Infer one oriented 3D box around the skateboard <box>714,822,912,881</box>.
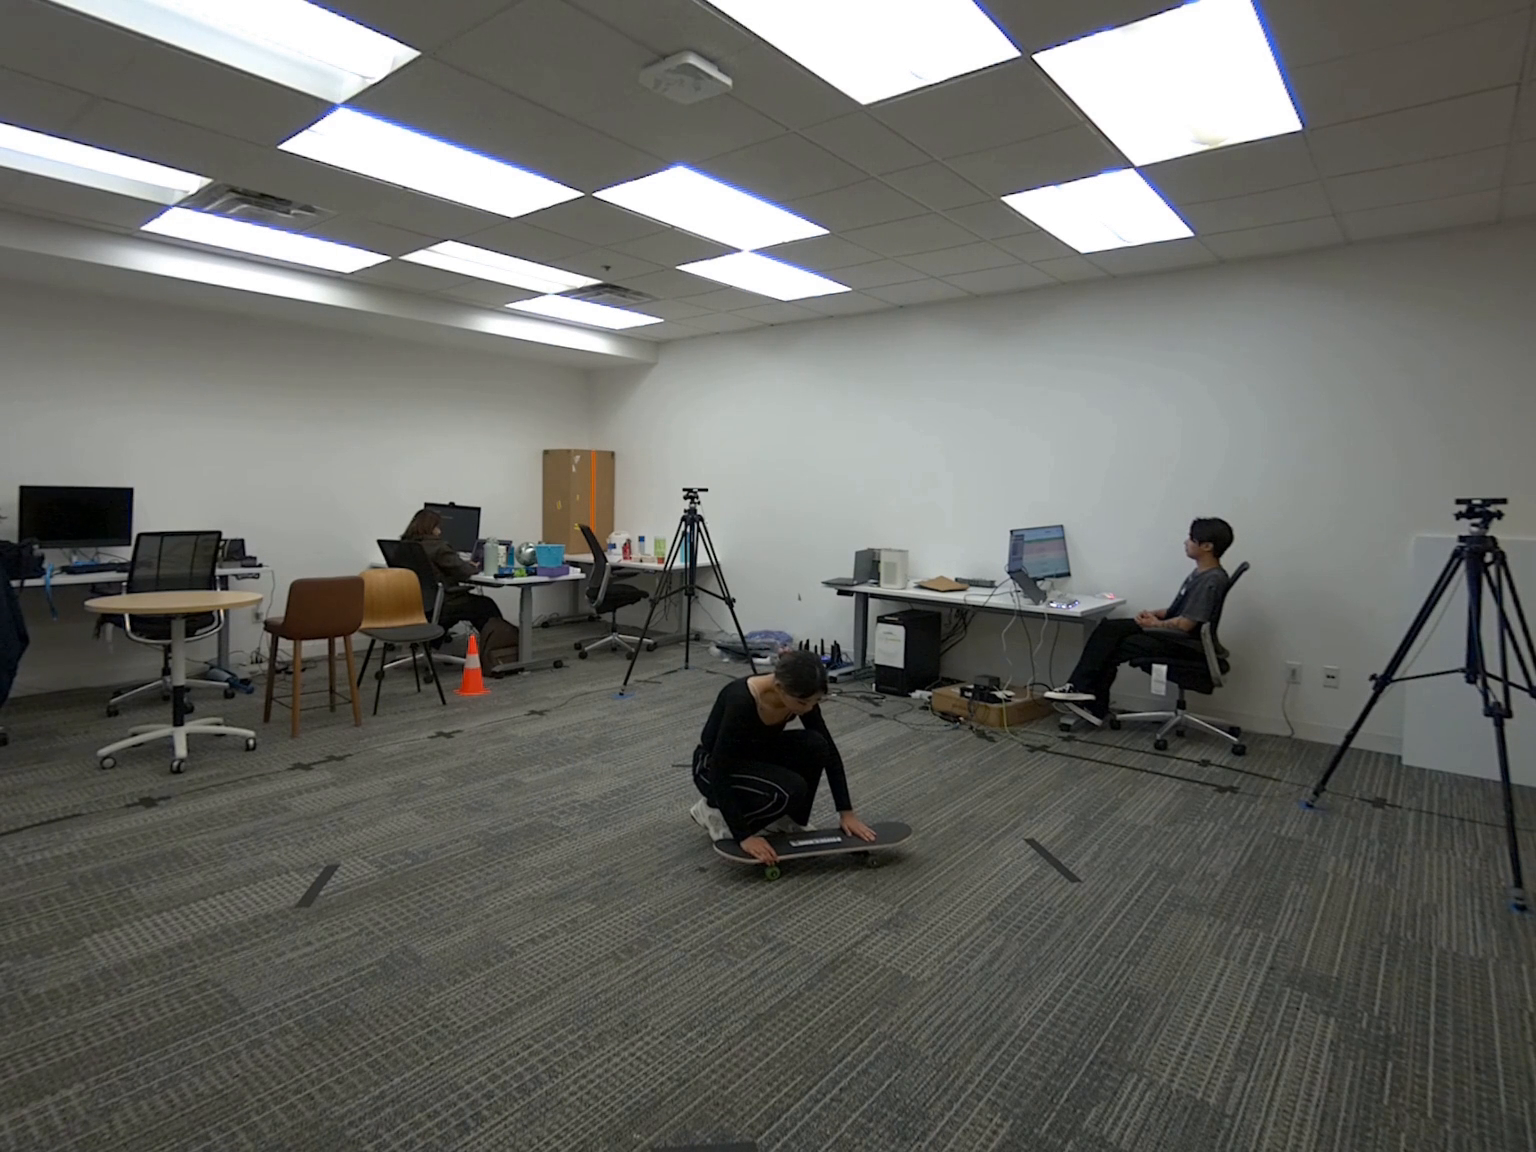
[{"bbox_3d":[0.170,1.012,3.166,0.772,0.110,0.198,-1,6,-17],"label":"skateboard"}]
